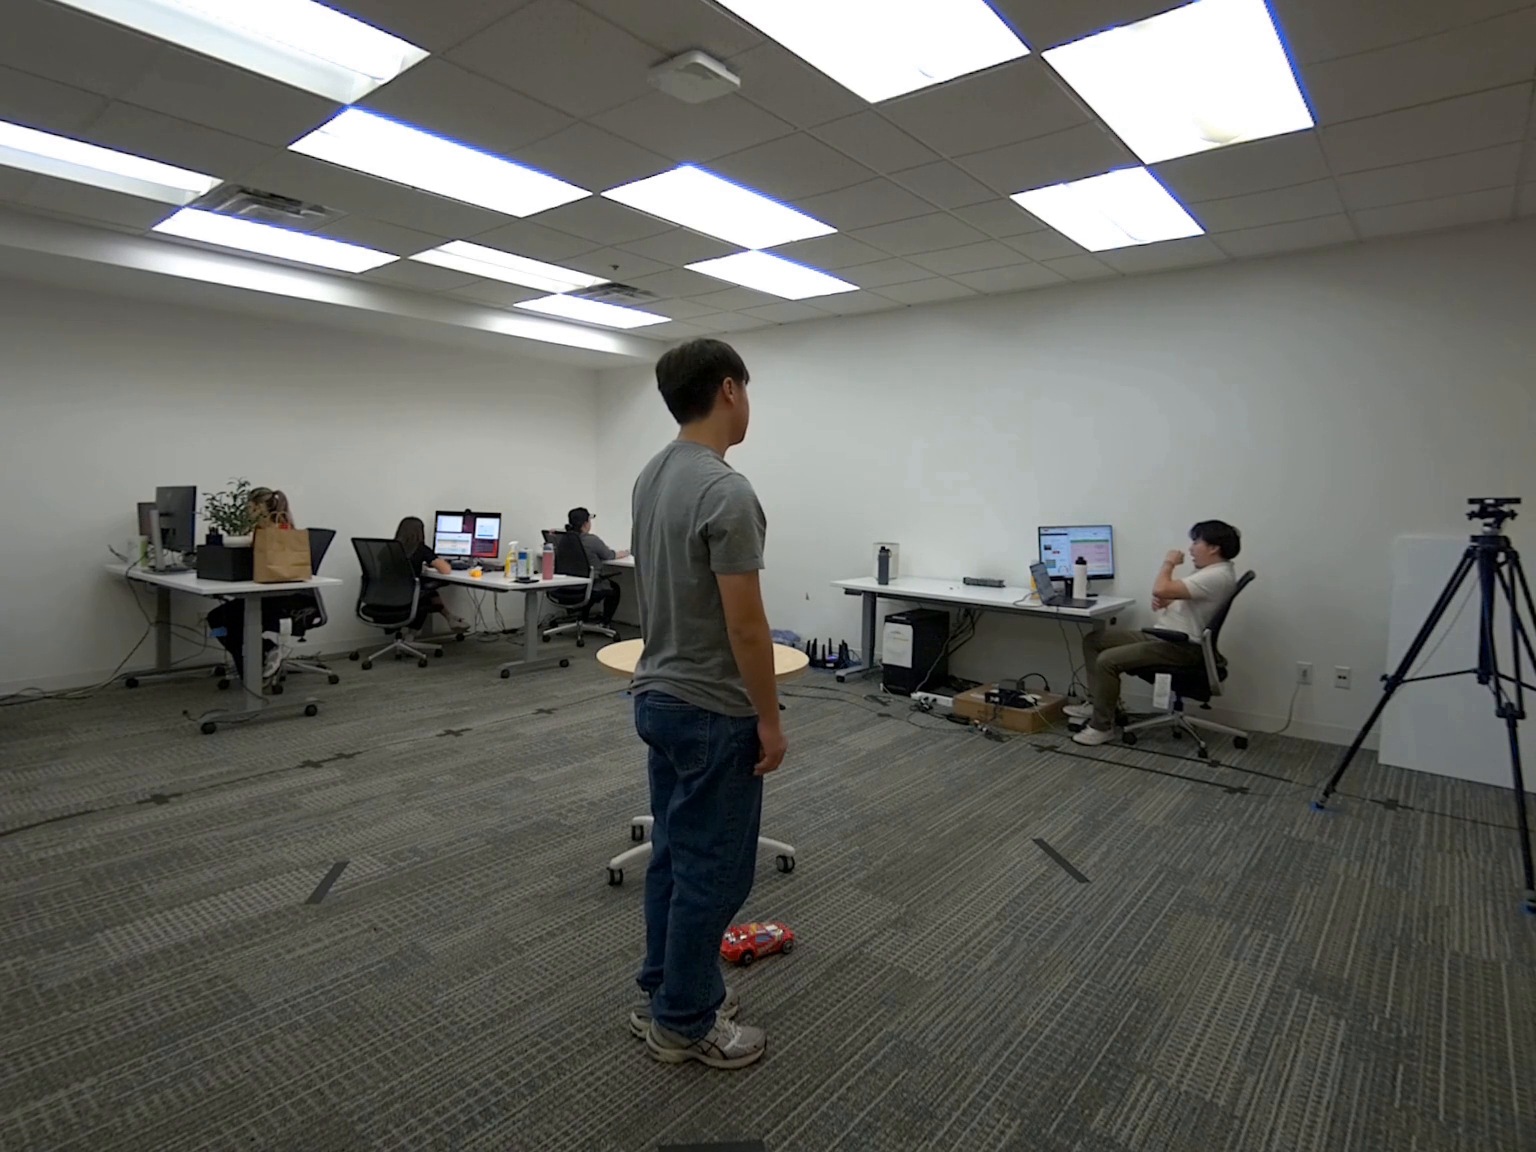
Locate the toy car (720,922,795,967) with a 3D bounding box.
[{"bbox_3d":[-0.056,1.095,2.541,0.246,0.083,0.134,11,0,-31],"label":"toy car"}]
